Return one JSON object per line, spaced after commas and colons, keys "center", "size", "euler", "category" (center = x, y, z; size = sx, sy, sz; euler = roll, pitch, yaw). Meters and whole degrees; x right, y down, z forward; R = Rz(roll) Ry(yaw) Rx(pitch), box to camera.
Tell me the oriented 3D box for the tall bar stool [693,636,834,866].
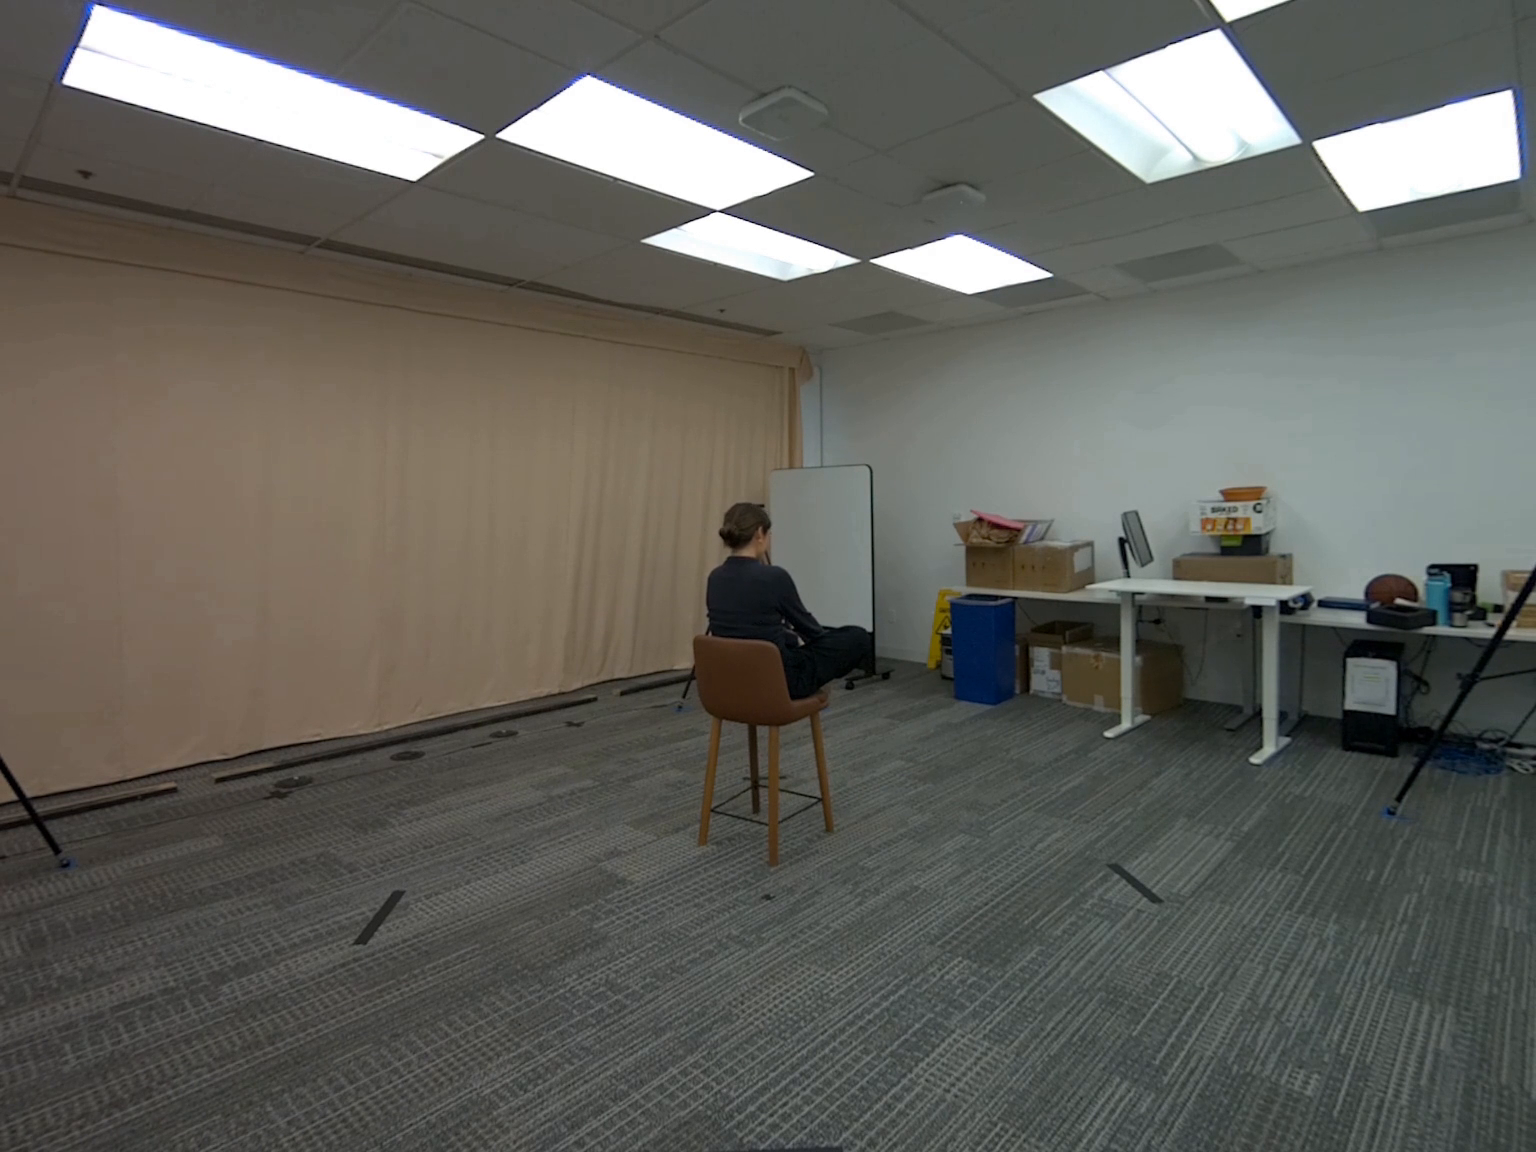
{"center": [-0.023, 0.662, 3.498], "size": [0.471, 0.887, 0.455], "euler": [1, 6, 35], "category": "tall bar stool"}
